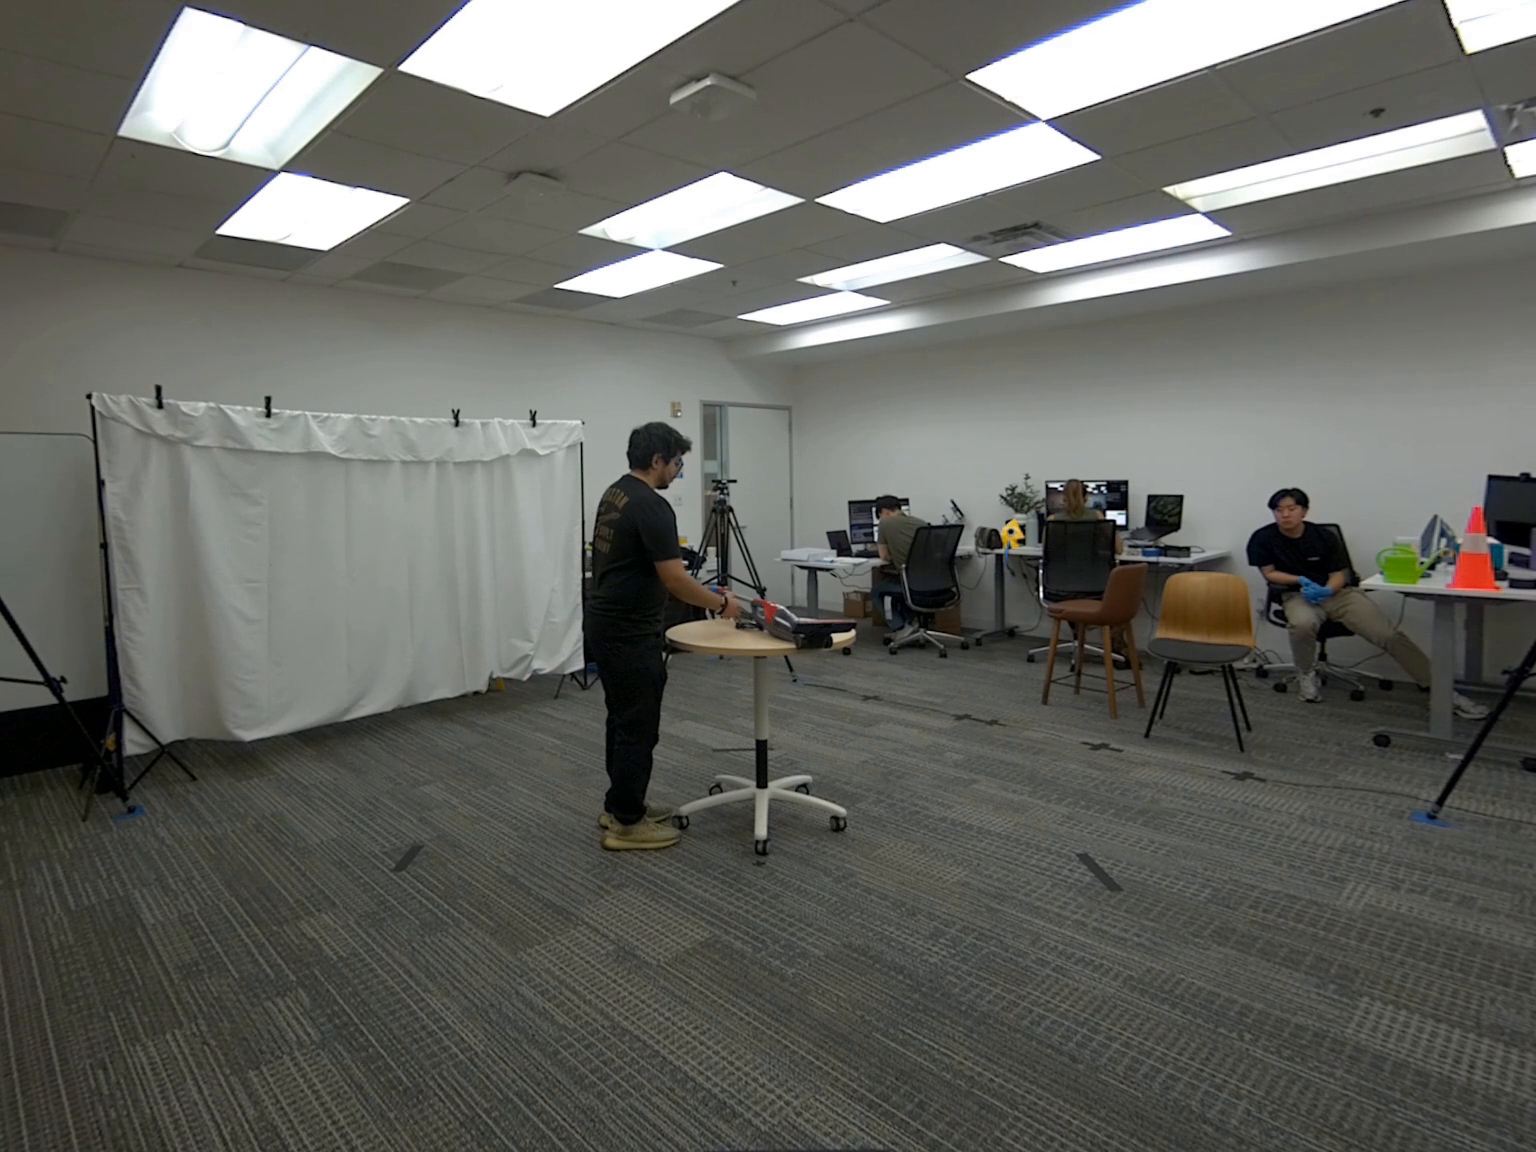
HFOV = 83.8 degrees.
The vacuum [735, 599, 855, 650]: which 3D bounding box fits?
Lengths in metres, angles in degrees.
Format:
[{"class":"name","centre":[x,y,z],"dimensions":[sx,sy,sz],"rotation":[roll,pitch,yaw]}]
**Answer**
[{"class":"vacuum","centre":[-0.064,0.163,3.538],"dimensions":[0.246,0.143,1.078],"rotation":[3,5,-28]}]
